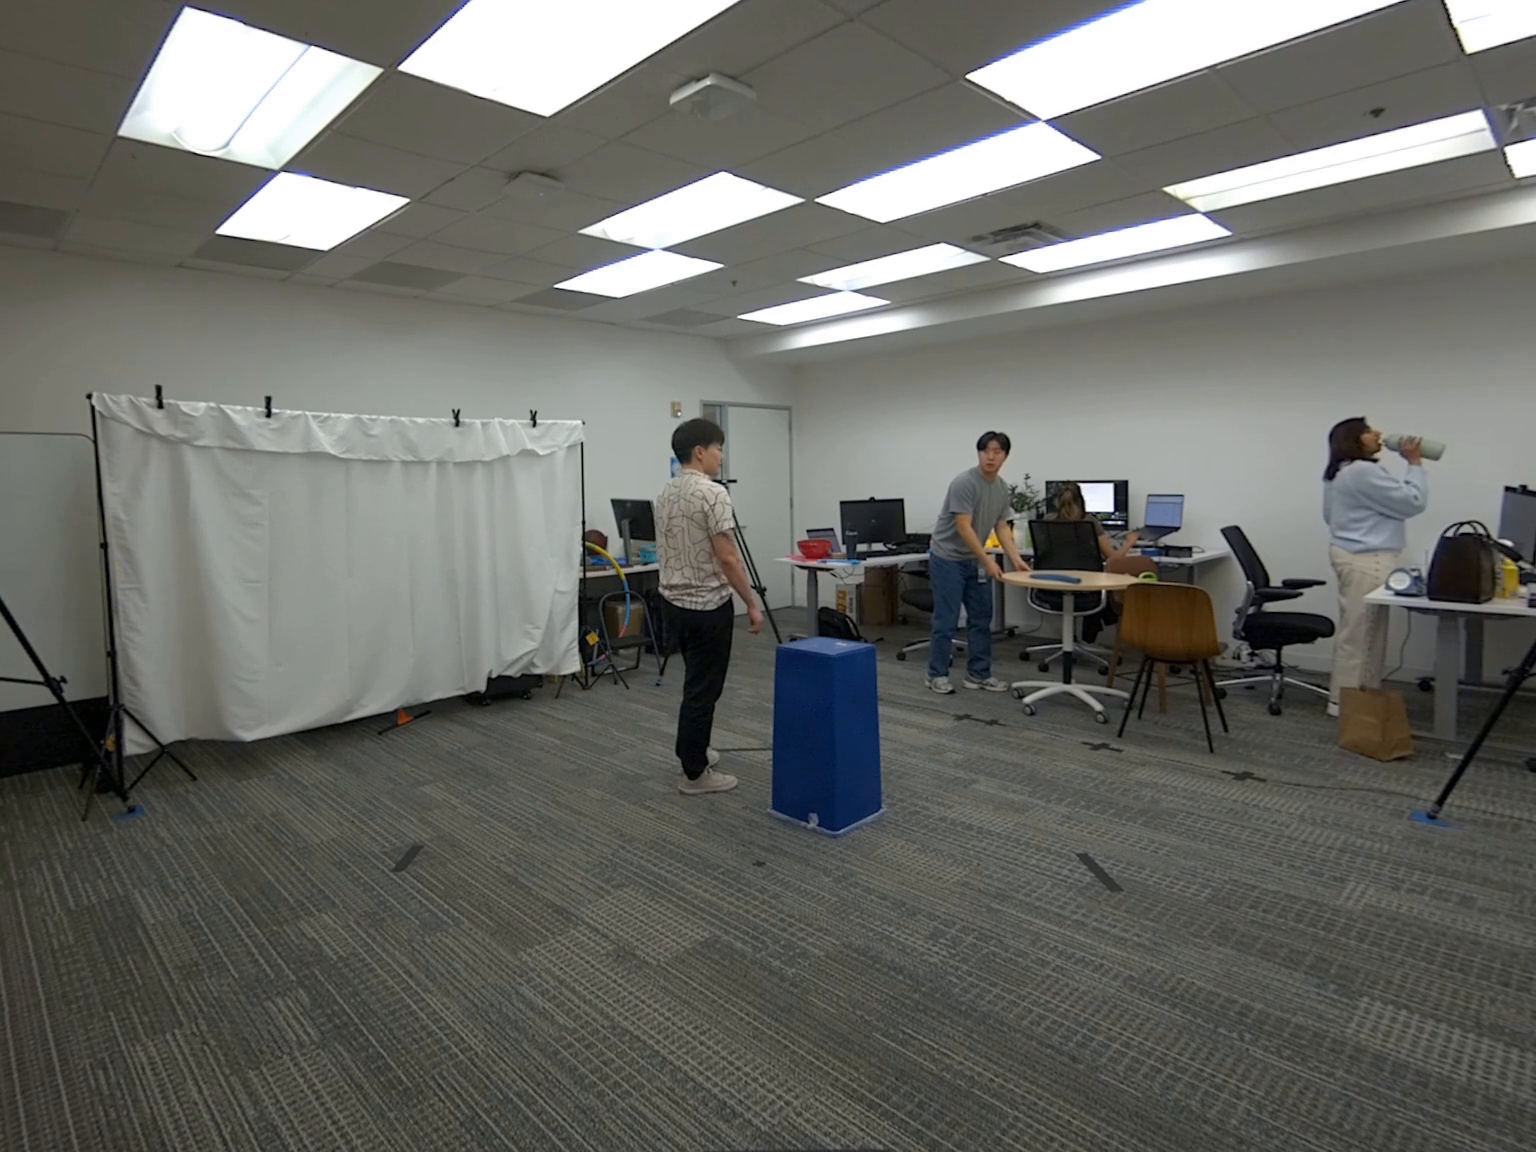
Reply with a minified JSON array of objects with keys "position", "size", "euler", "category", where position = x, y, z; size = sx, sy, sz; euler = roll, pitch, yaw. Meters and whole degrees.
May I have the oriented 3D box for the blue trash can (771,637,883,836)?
[{"position":[0.251,0.641,3.548],"size":[0.390,0.711,0.364],"euler":[4,5,43],"category":"blue trash can"}]
